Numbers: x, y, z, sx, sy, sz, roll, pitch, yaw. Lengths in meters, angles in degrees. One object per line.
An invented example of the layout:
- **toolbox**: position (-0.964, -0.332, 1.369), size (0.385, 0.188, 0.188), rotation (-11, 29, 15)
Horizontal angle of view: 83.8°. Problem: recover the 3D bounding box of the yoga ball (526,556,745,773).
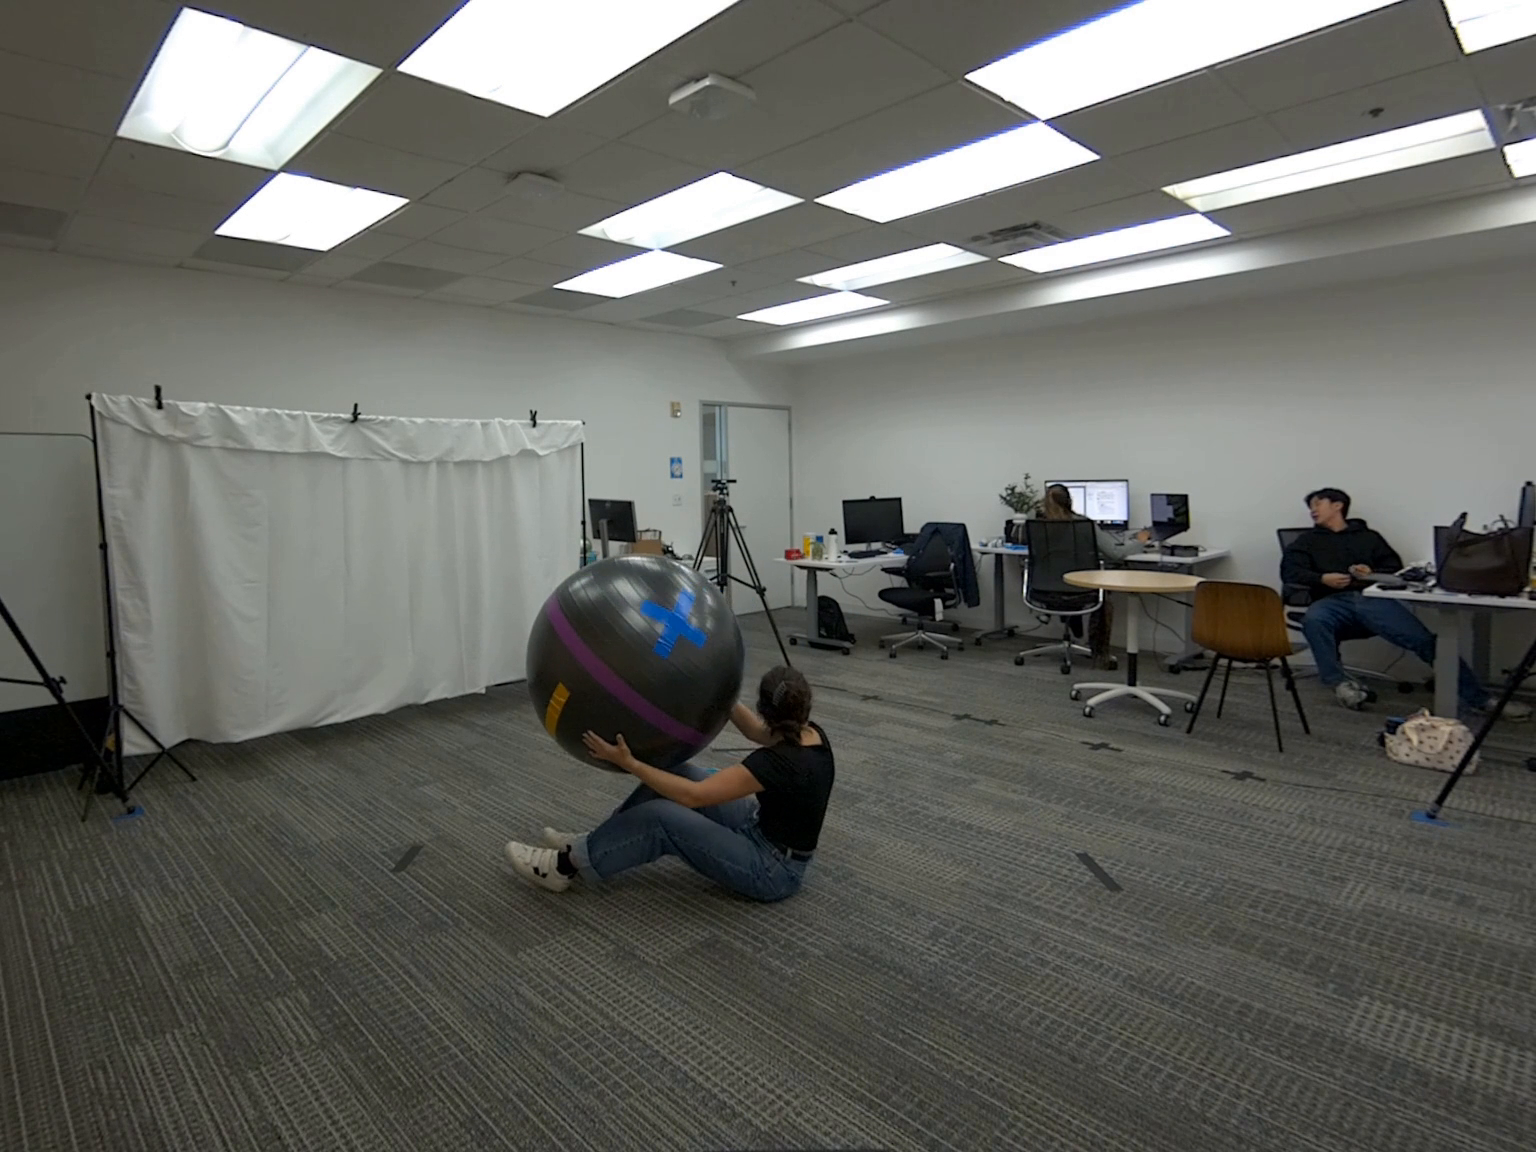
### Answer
- **yoga ball**: position (-0.454, 0.306, 2.988), size (0.757, 0.755, 0.762), rotation (-1, 5, -2)
